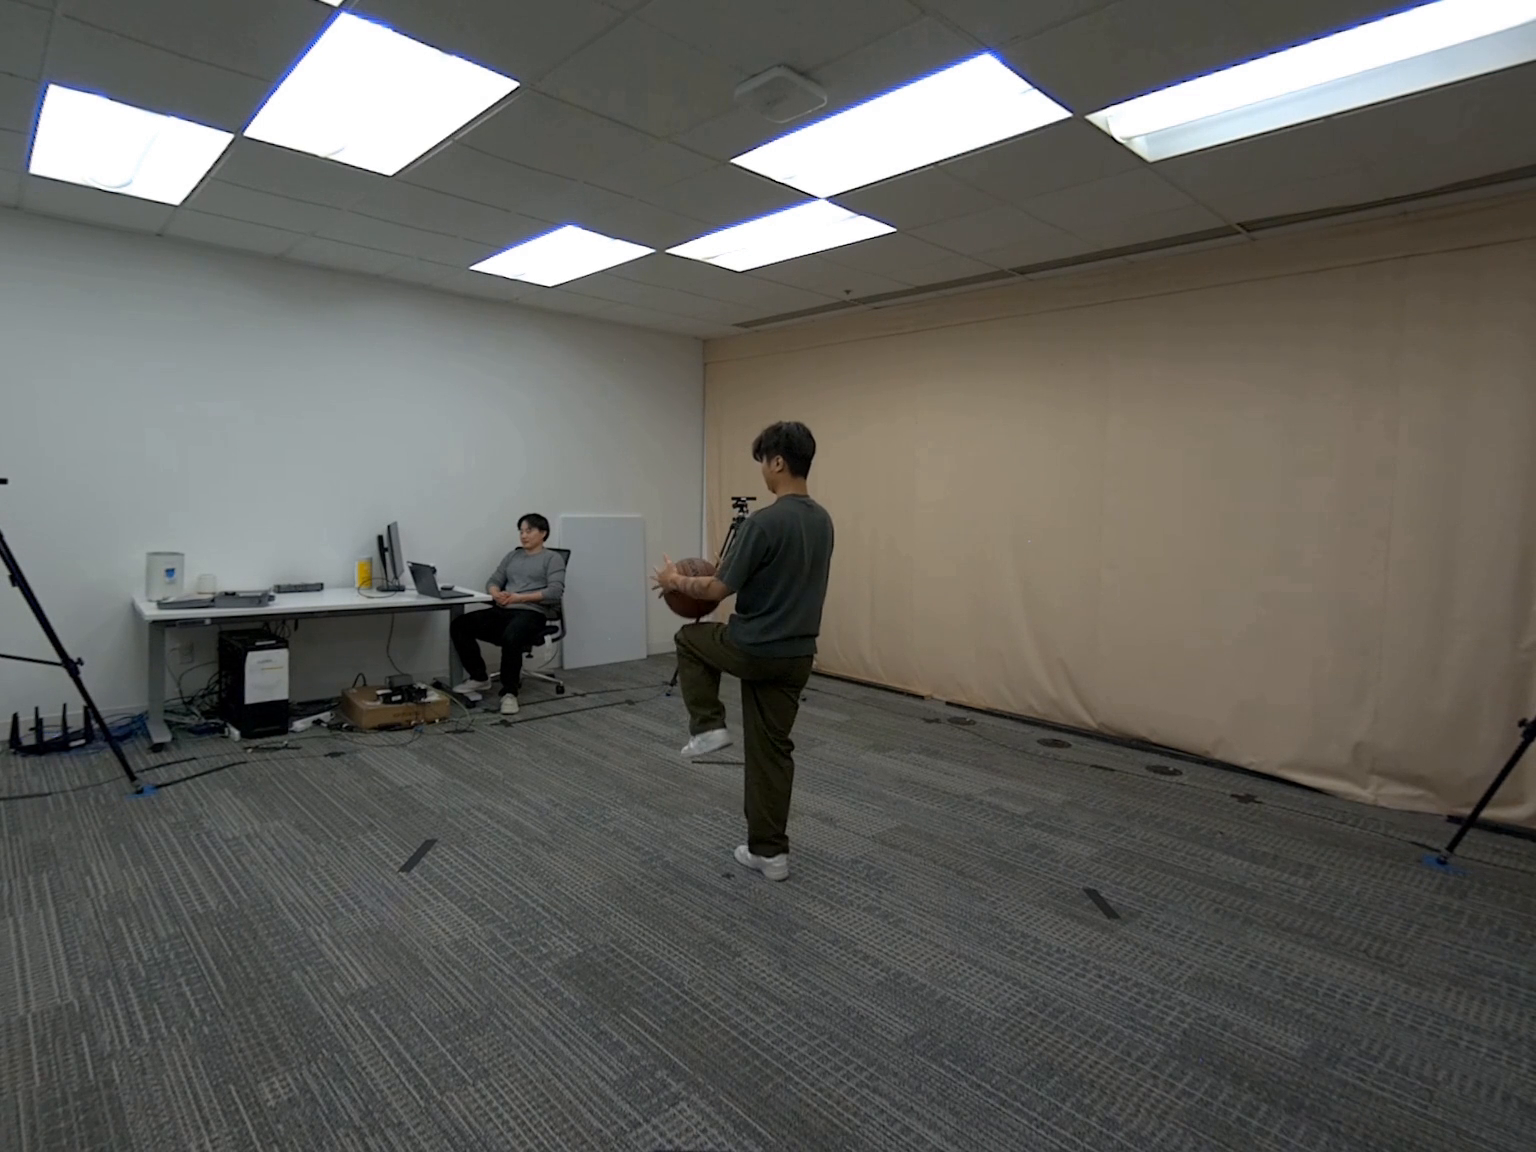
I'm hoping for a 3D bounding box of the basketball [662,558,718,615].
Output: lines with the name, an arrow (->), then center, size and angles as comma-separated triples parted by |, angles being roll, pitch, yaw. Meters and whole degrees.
basketball -> -0.303, -0.015, 3.300 | 0.236, 0.235, 0.237 | 1, 4, -1
